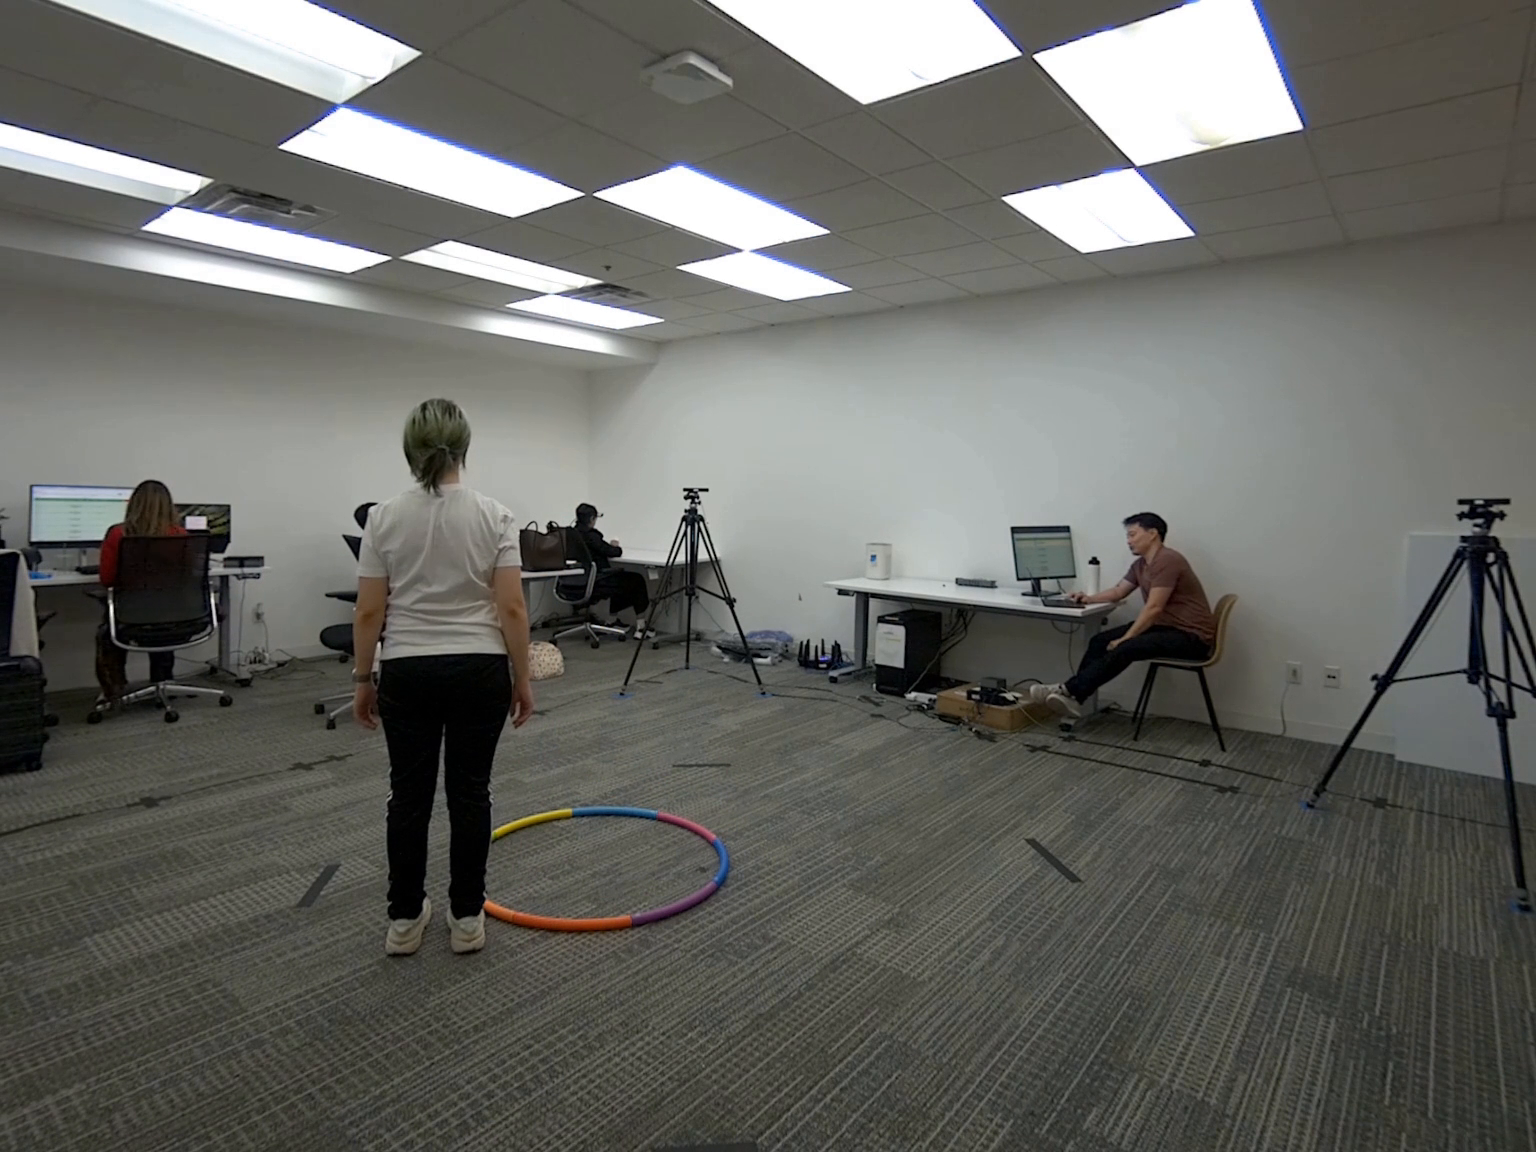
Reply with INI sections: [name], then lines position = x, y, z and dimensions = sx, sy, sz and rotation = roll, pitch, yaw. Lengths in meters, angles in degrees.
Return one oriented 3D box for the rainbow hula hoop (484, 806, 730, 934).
[rainbow hula hoop]
position = -0.638, 1.031, 3.134
dimensions = 0.978, 0.035, 0.984
rotation = 1, 5, -2
